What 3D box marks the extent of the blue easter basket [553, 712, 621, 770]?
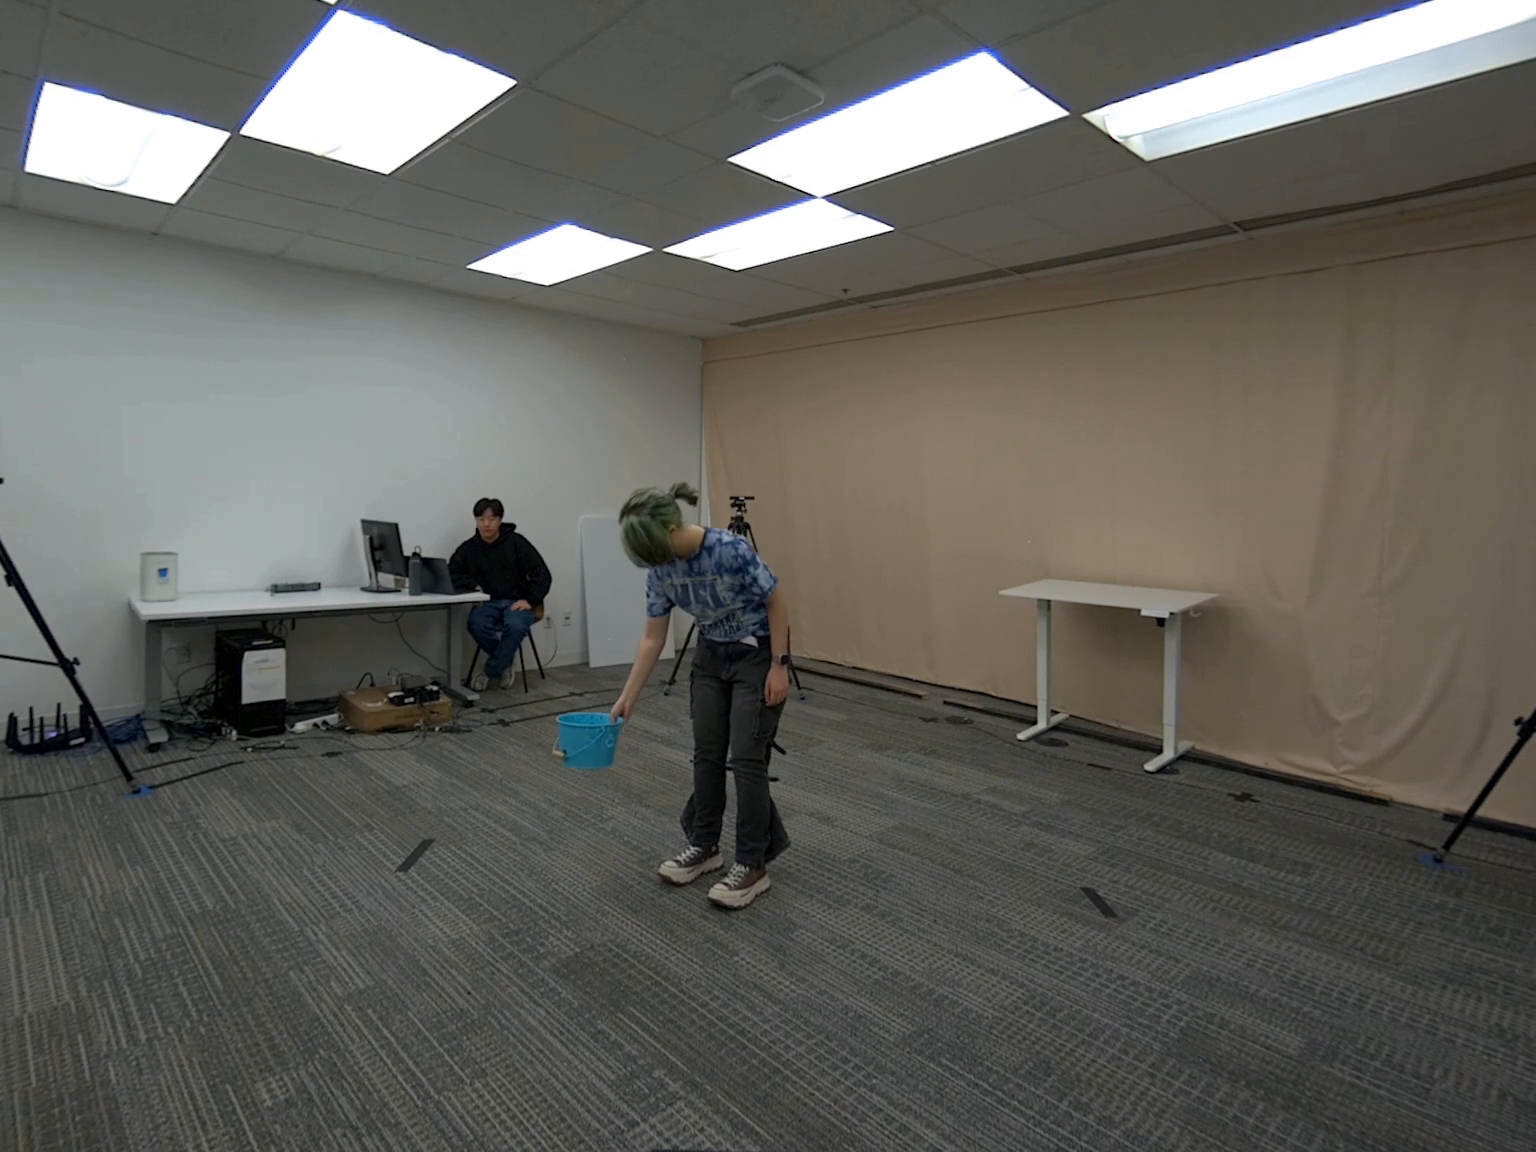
[{"bbox_3d":[-0.645,0.590,2.950,0.243,0.156,0.244,4,0,-1],"label":"blue easter basket"}]
